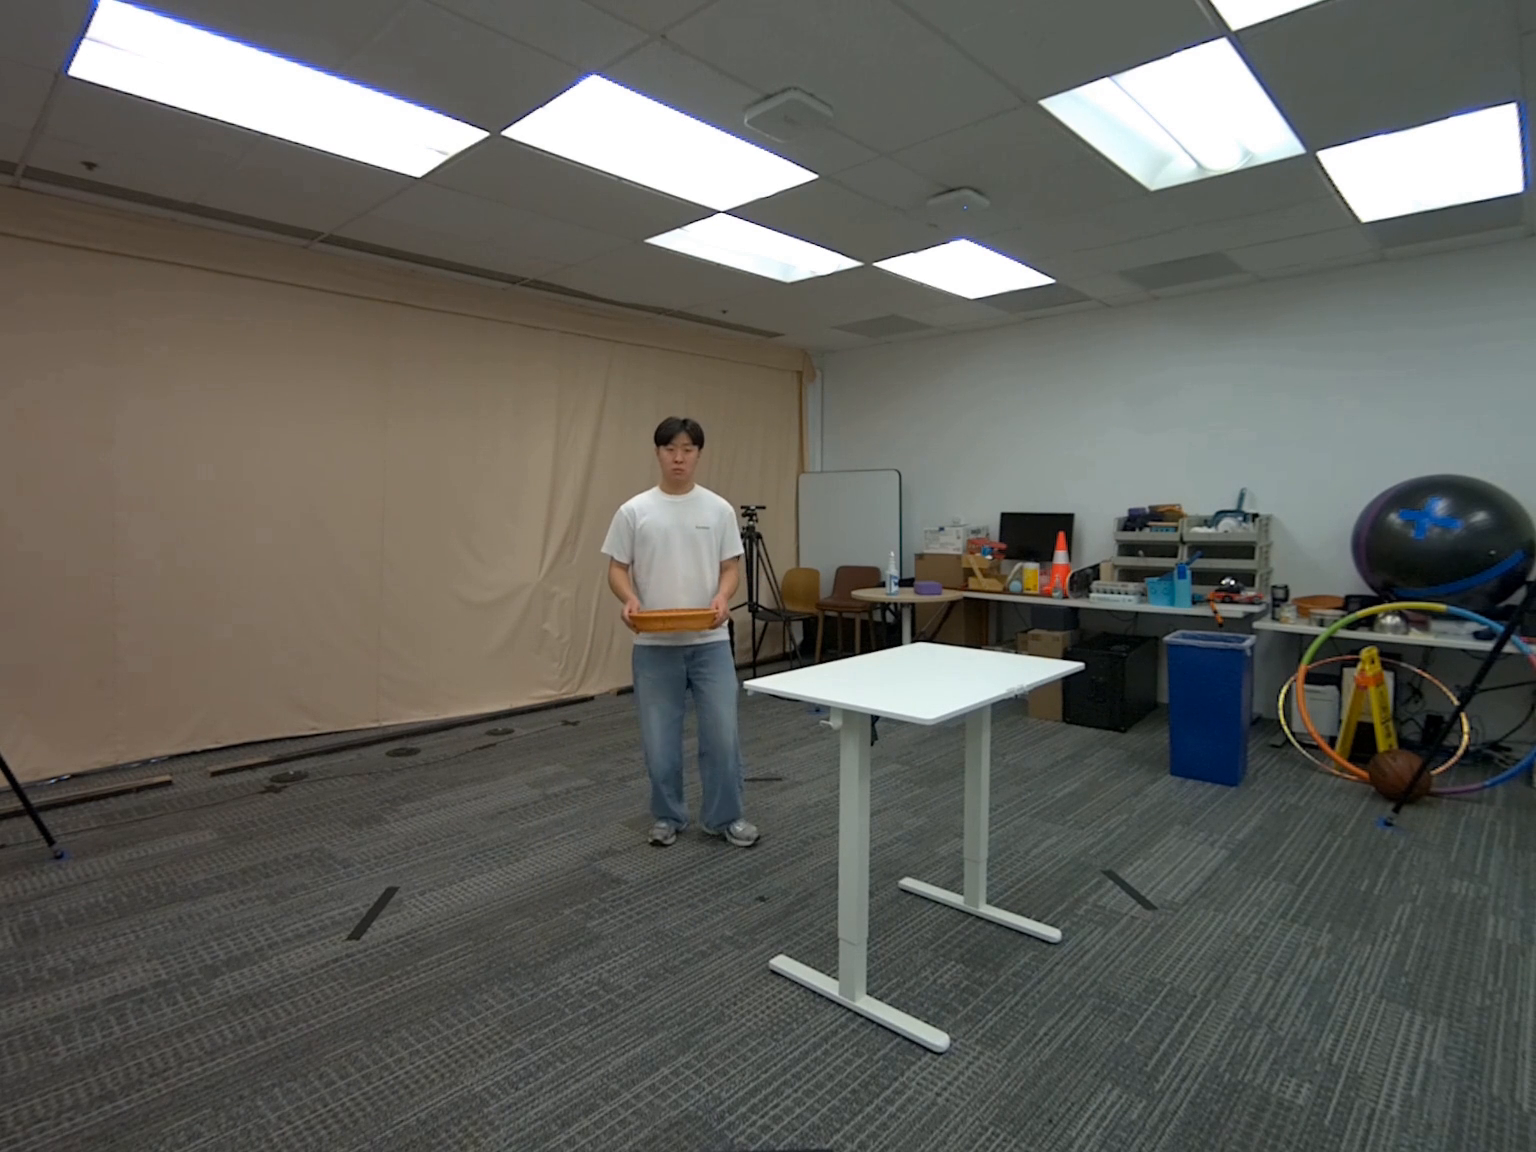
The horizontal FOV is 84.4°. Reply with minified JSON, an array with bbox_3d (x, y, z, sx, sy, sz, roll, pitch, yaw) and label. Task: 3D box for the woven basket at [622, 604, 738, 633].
[{"bbox_3d":[-0.333,0.154,3.199,0.340,0.073,0.260,-6,4,-39],"label":"woven basket"}]
